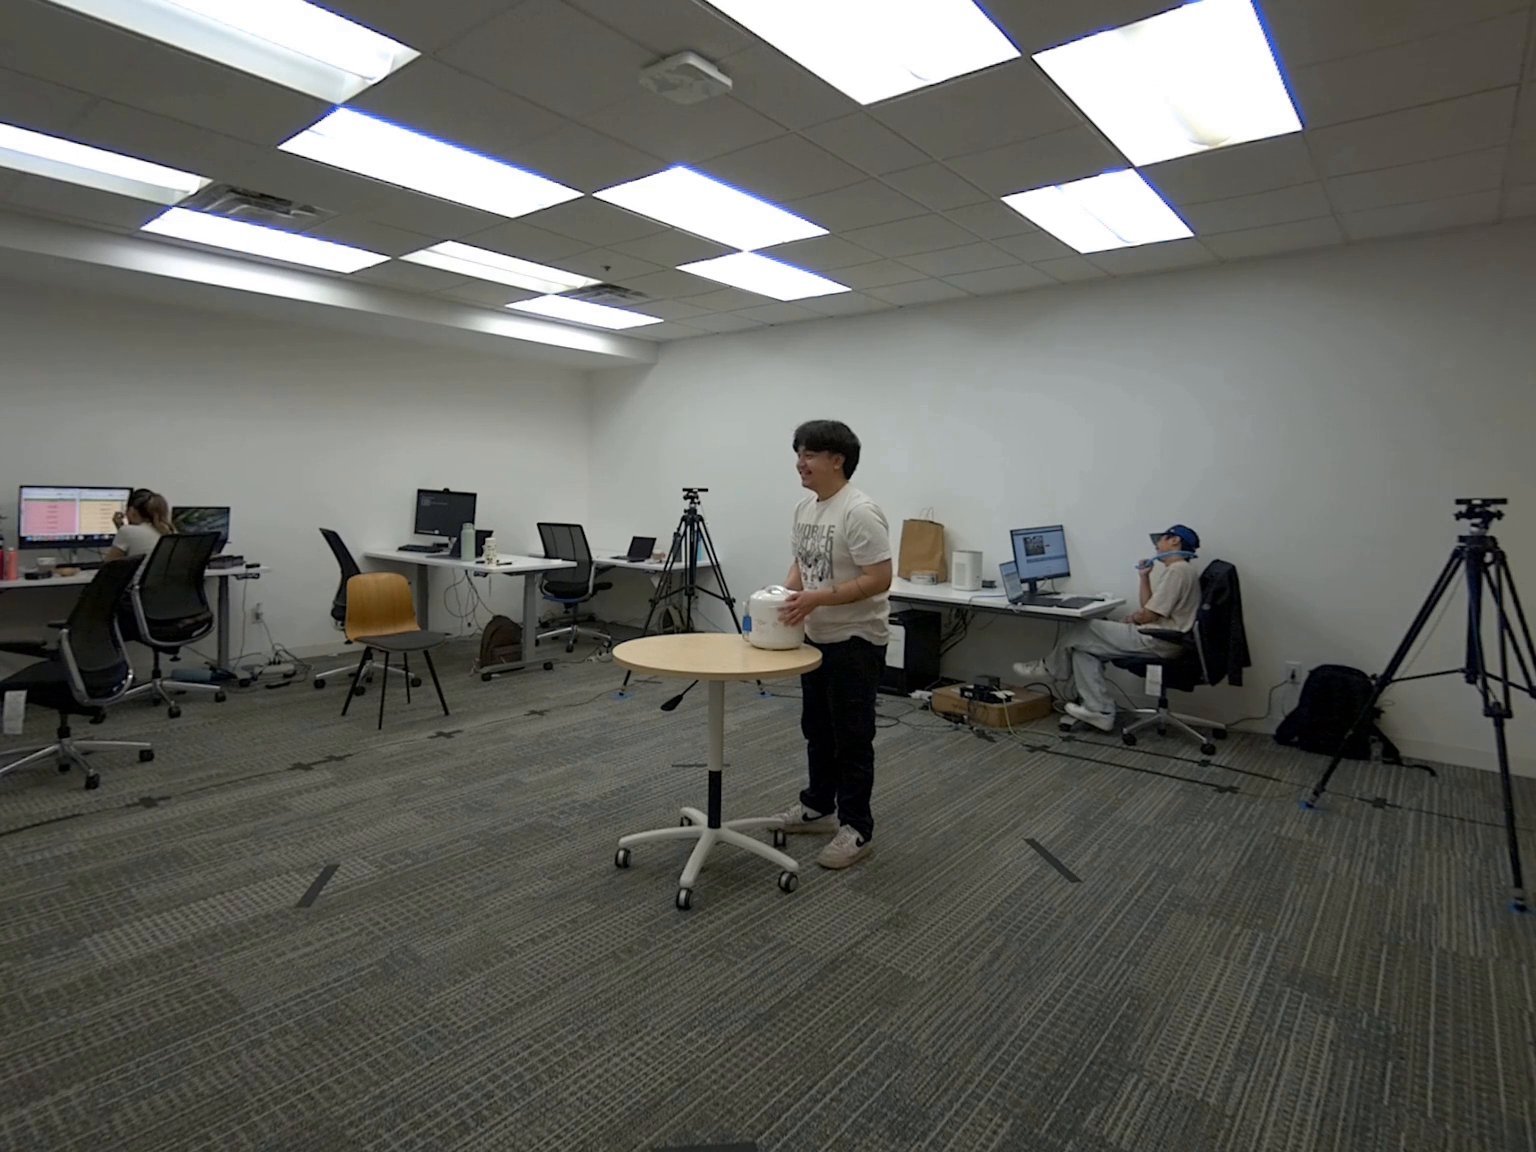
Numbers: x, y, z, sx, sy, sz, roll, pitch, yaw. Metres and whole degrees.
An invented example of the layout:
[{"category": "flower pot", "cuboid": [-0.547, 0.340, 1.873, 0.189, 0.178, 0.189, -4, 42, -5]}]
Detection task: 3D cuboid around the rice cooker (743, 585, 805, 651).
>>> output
[{"category": "rice cooker", "cuboid": [0.022, 0.149, 3.230, 0.212, 0.232, 0.227, -2, 6, -29]}]
